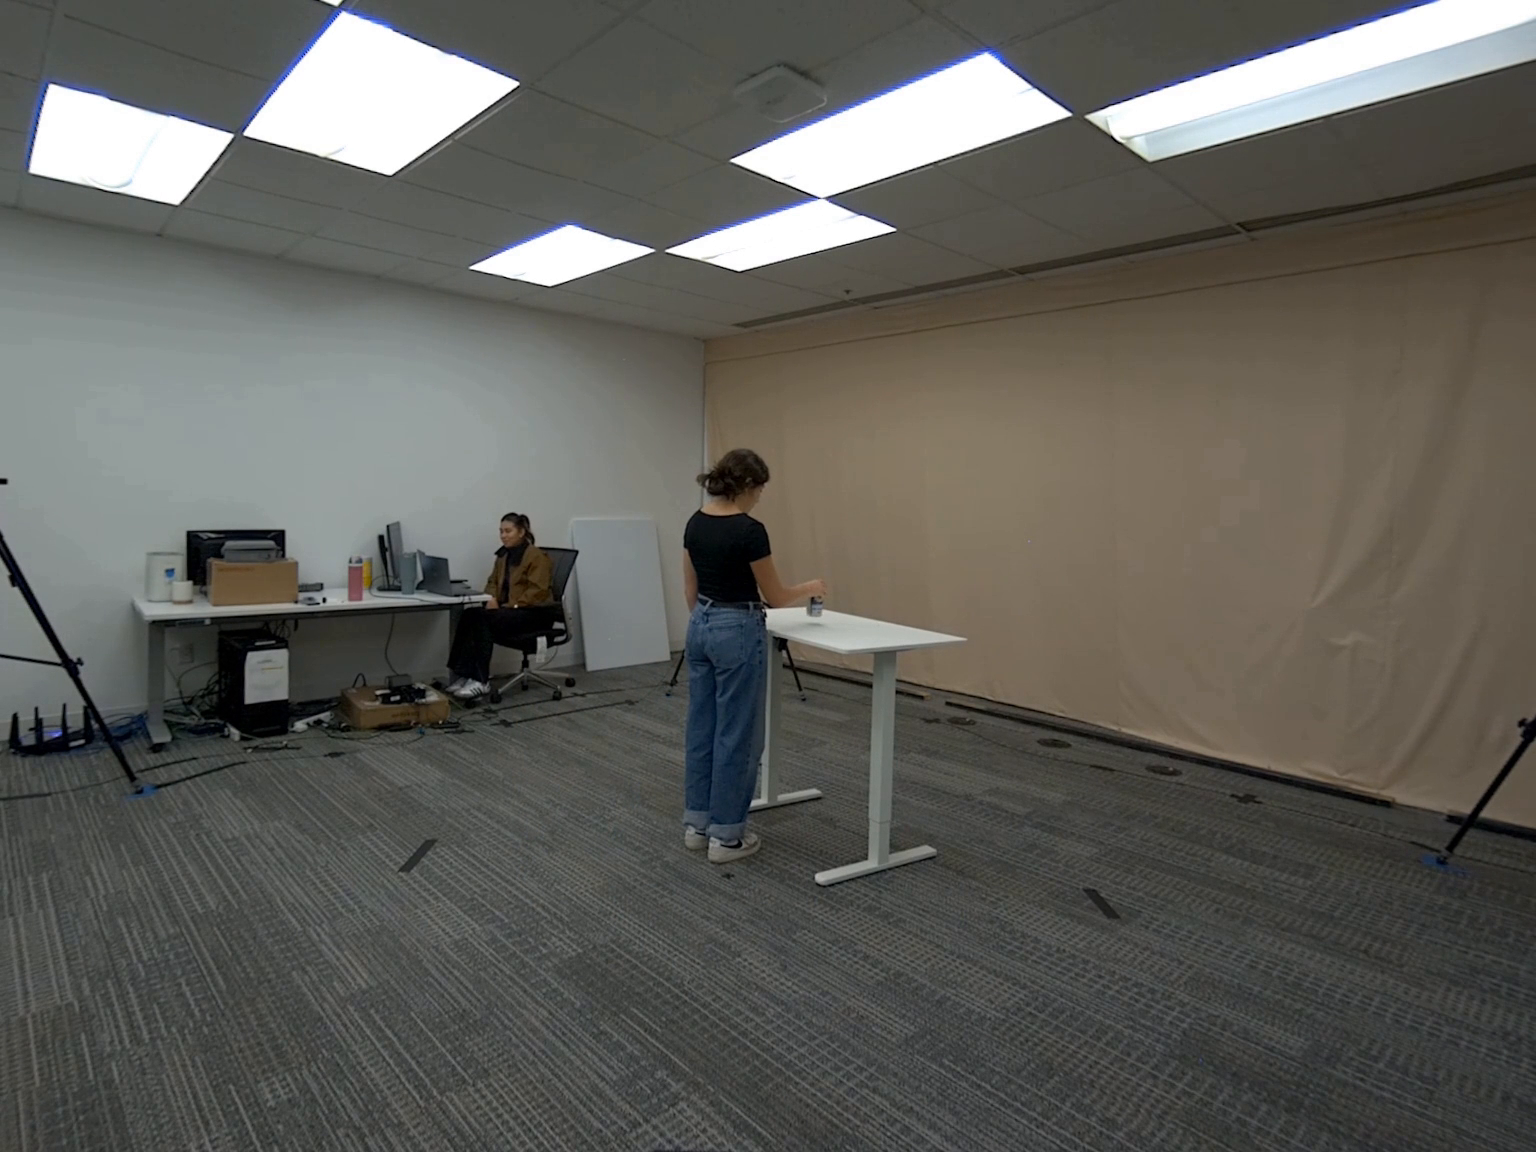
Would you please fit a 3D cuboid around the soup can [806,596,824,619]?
[{"bbox_3d":[0.184,0.105,3.487,0.067,0.121,0.067,1,6,-1],"label":"soup can"}]
